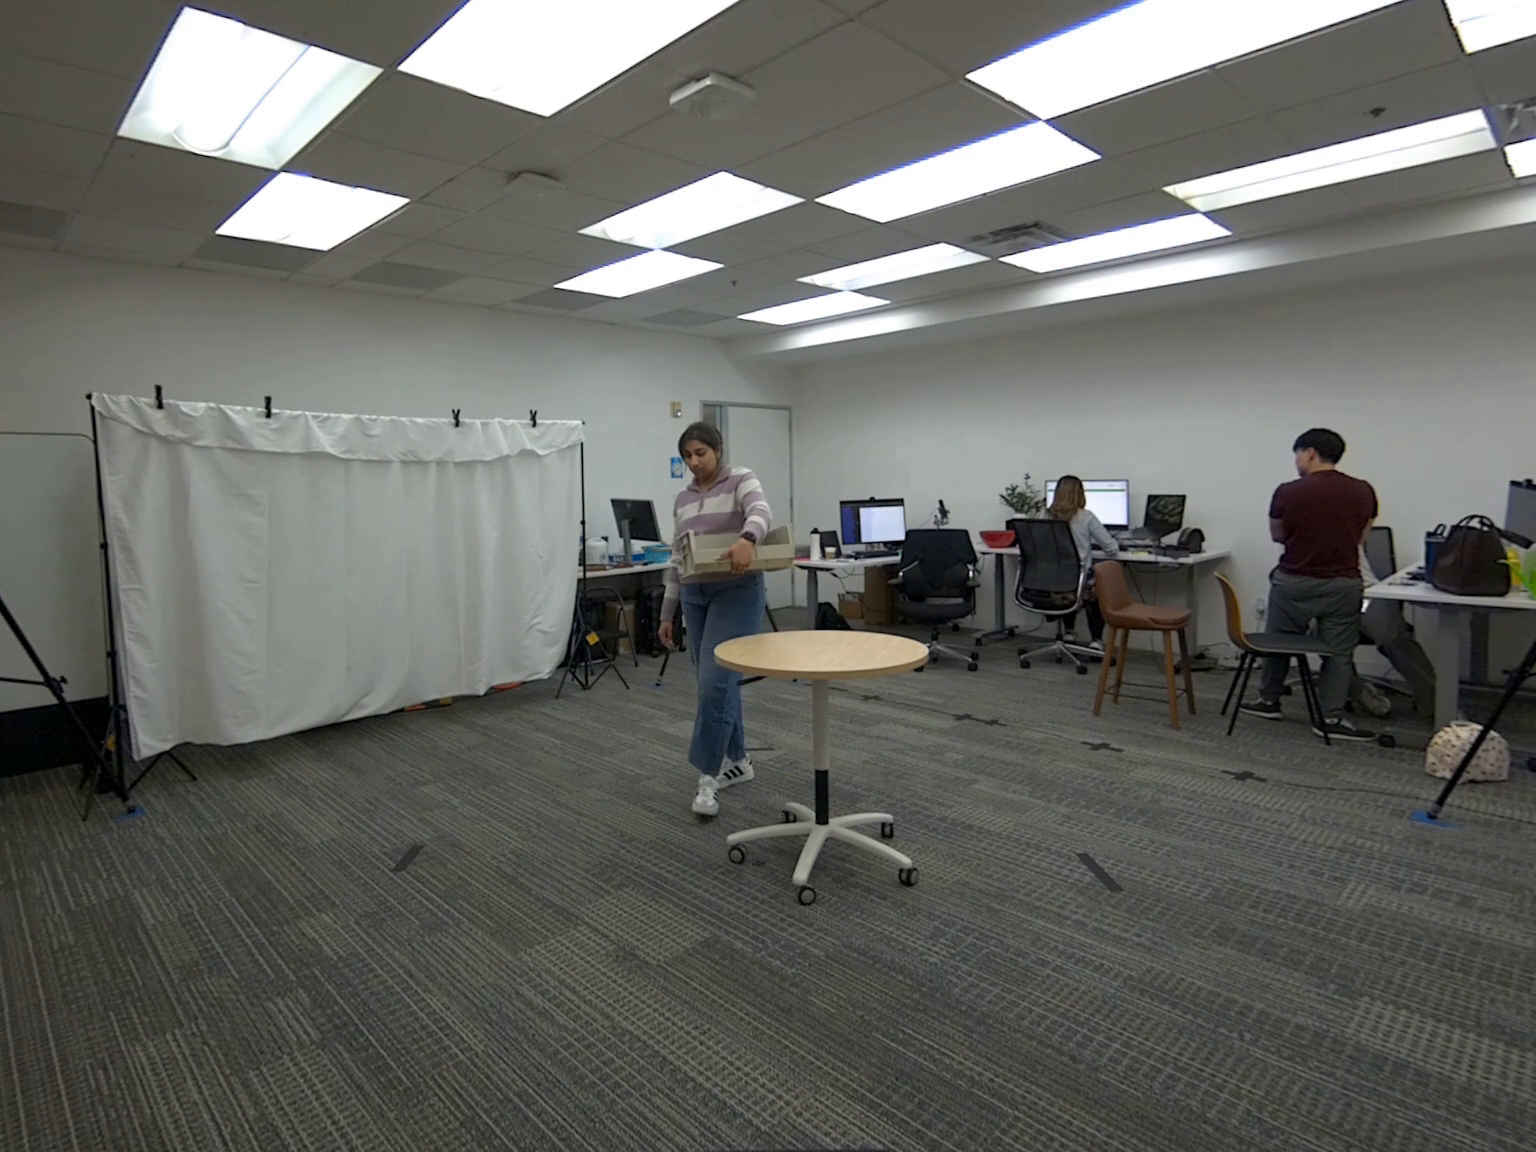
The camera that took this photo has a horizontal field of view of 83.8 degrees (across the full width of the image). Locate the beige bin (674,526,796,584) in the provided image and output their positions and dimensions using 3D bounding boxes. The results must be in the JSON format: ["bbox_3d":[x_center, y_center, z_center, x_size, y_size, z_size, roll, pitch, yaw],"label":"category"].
[{"bbox_3d":[-0.135,-0.090,3.522,0.418,0.190,0.379,-5,-4,-13],"label":"beige bin"}]
